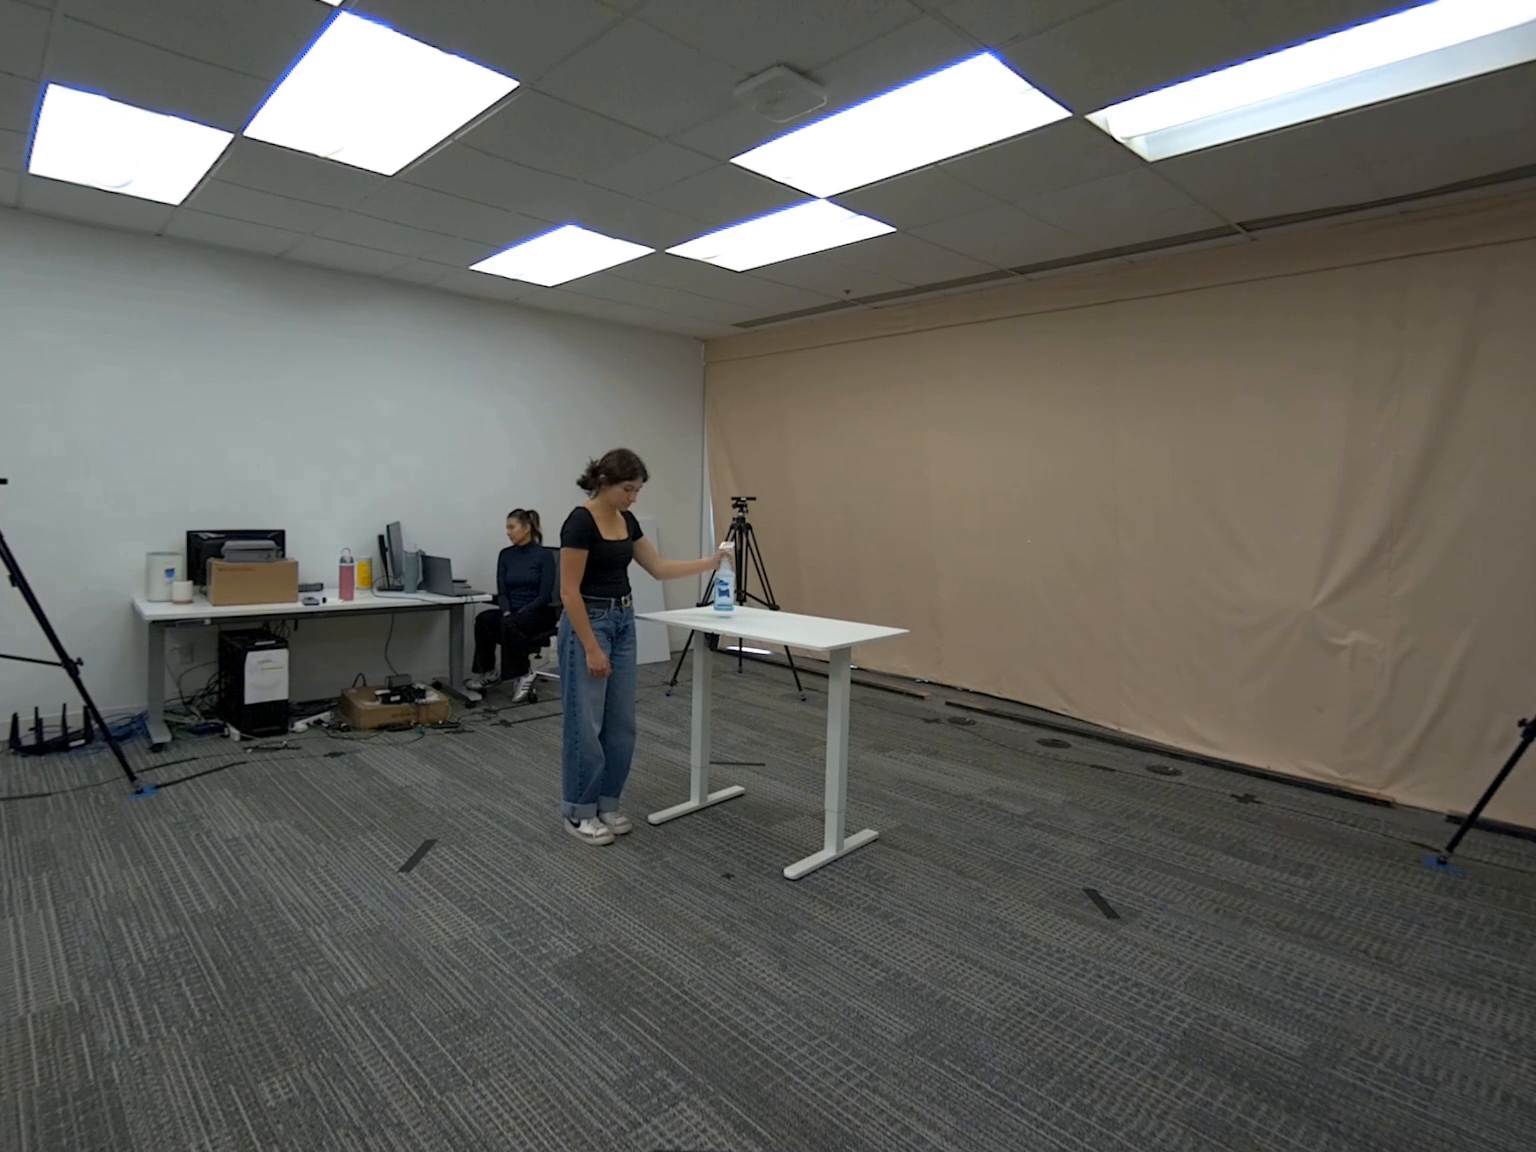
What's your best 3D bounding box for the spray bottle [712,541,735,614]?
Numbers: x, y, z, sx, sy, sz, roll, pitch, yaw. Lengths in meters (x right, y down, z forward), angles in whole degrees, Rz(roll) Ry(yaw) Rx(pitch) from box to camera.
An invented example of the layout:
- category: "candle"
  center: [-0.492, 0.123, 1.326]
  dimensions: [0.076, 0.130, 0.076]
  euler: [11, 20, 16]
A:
- category: "spray bottle"
  center: [-0.199, 0.001, 3.623]
  dimensions: [0.088, 0.298, 0.088]
  euler: [3, -3, -27]
